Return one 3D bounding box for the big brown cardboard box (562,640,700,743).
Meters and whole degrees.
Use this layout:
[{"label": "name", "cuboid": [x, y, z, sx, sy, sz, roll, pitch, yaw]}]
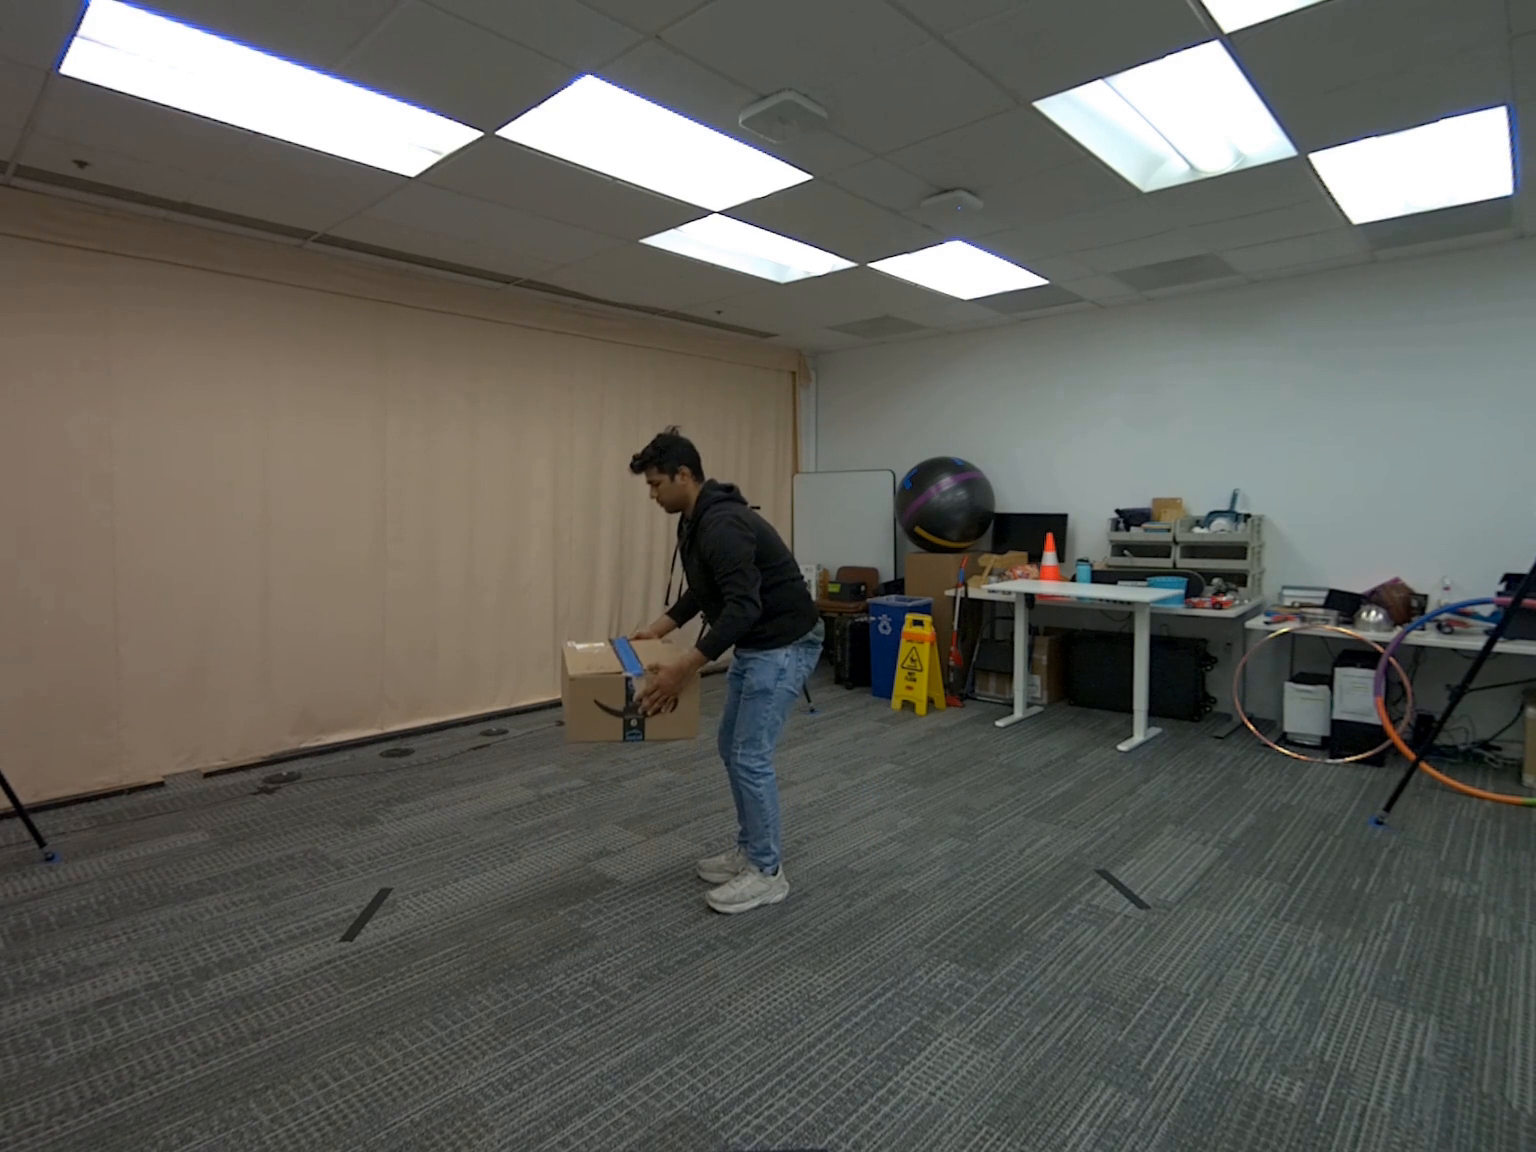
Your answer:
[{"label": "big brown cardboard box", "cuboid": [-0.488, 0.390, 2.927, 0.412, 0.232, 0.600, 0, 7, -14]}]
